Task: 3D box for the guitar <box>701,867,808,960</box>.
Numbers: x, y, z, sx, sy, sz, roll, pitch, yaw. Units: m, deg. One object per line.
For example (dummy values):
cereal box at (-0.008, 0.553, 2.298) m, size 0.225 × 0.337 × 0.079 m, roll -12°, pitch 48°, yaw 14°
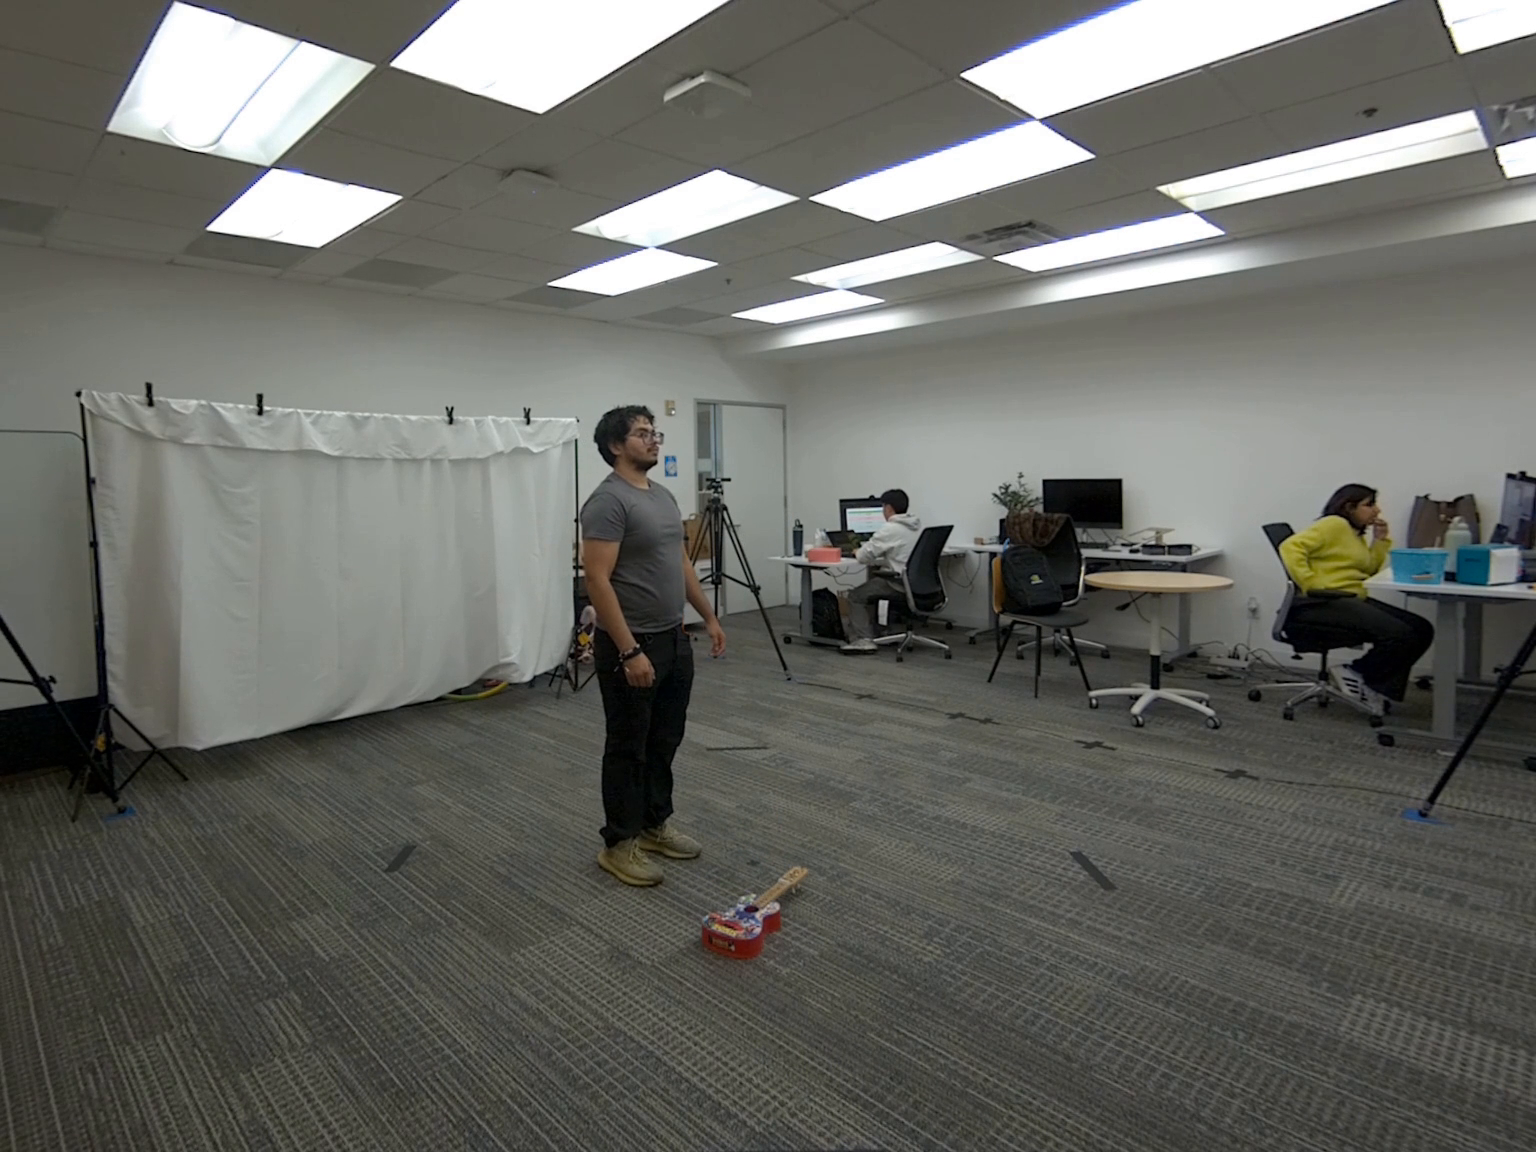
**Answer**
guitar at (0.015, 1.056, 2.697) m, size 0.199 × 0.070 × 0.485 m, roll 4°, pitch 9°, yaw 42°
